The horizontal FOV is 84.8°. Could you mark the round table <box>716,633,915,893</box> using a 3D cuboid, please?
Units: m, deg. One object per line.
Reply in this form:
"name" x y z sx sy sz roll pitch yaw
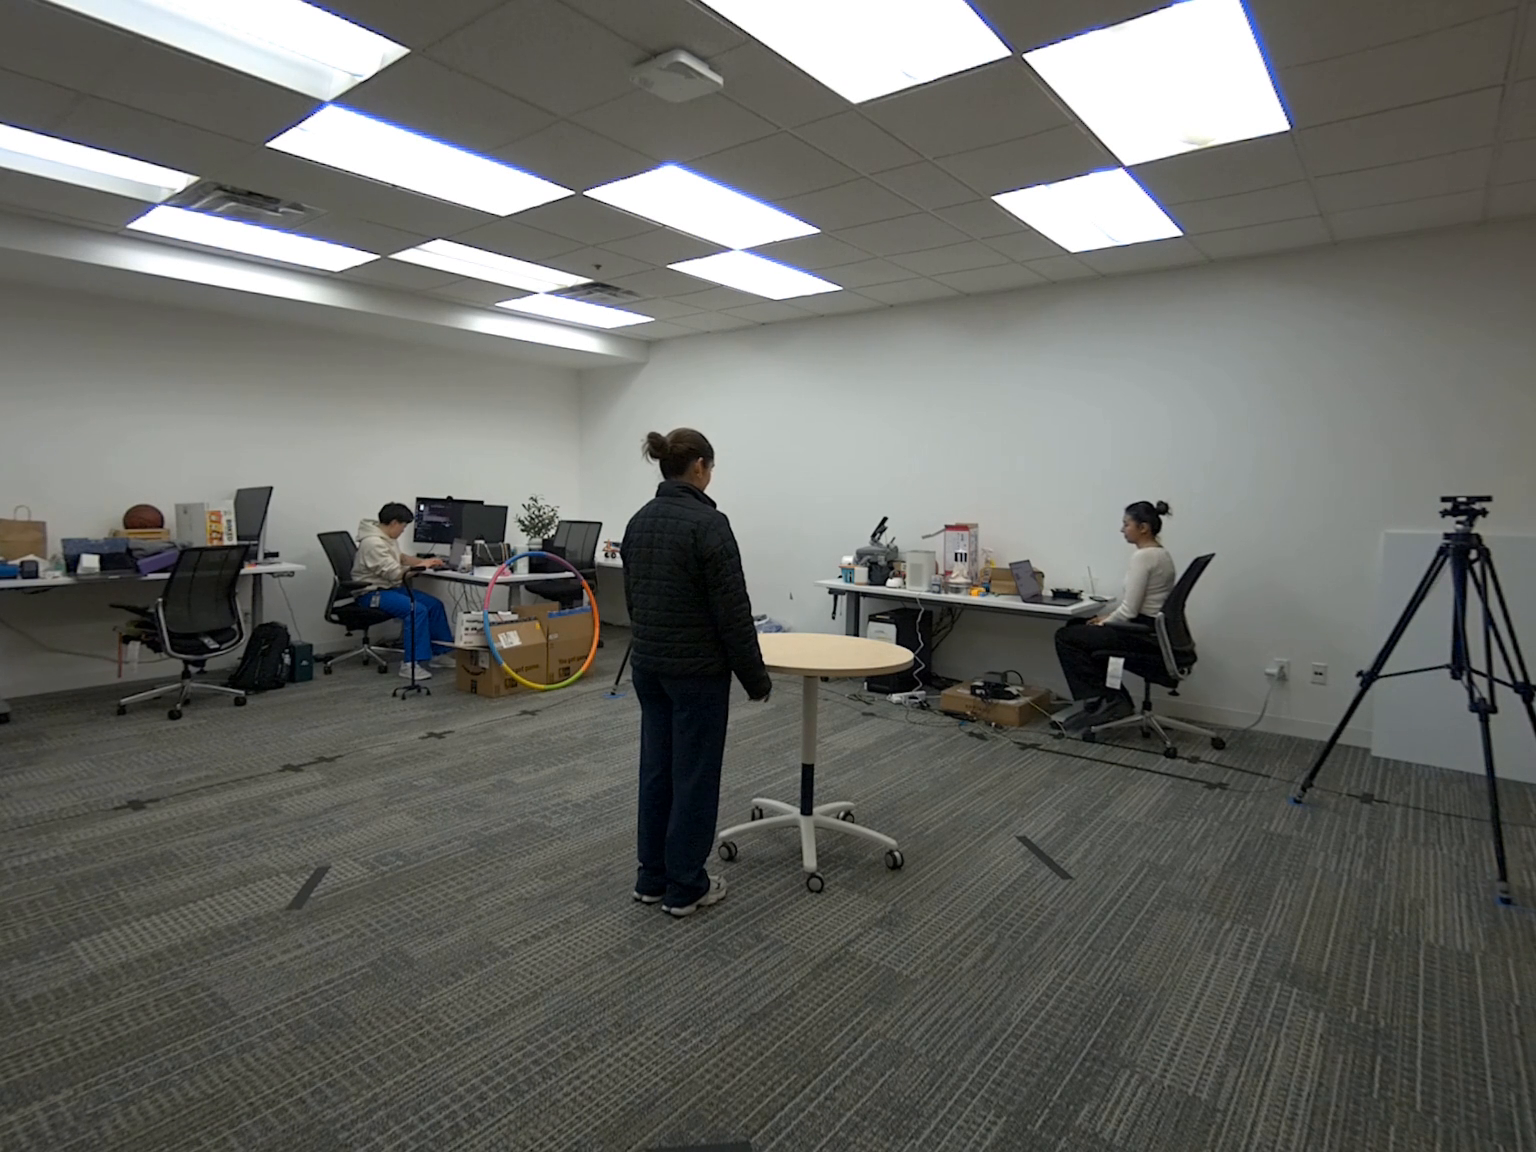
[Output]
"round table" 0.164 0.663 3.283 0.784 0.784 0.788 2 4 -2
